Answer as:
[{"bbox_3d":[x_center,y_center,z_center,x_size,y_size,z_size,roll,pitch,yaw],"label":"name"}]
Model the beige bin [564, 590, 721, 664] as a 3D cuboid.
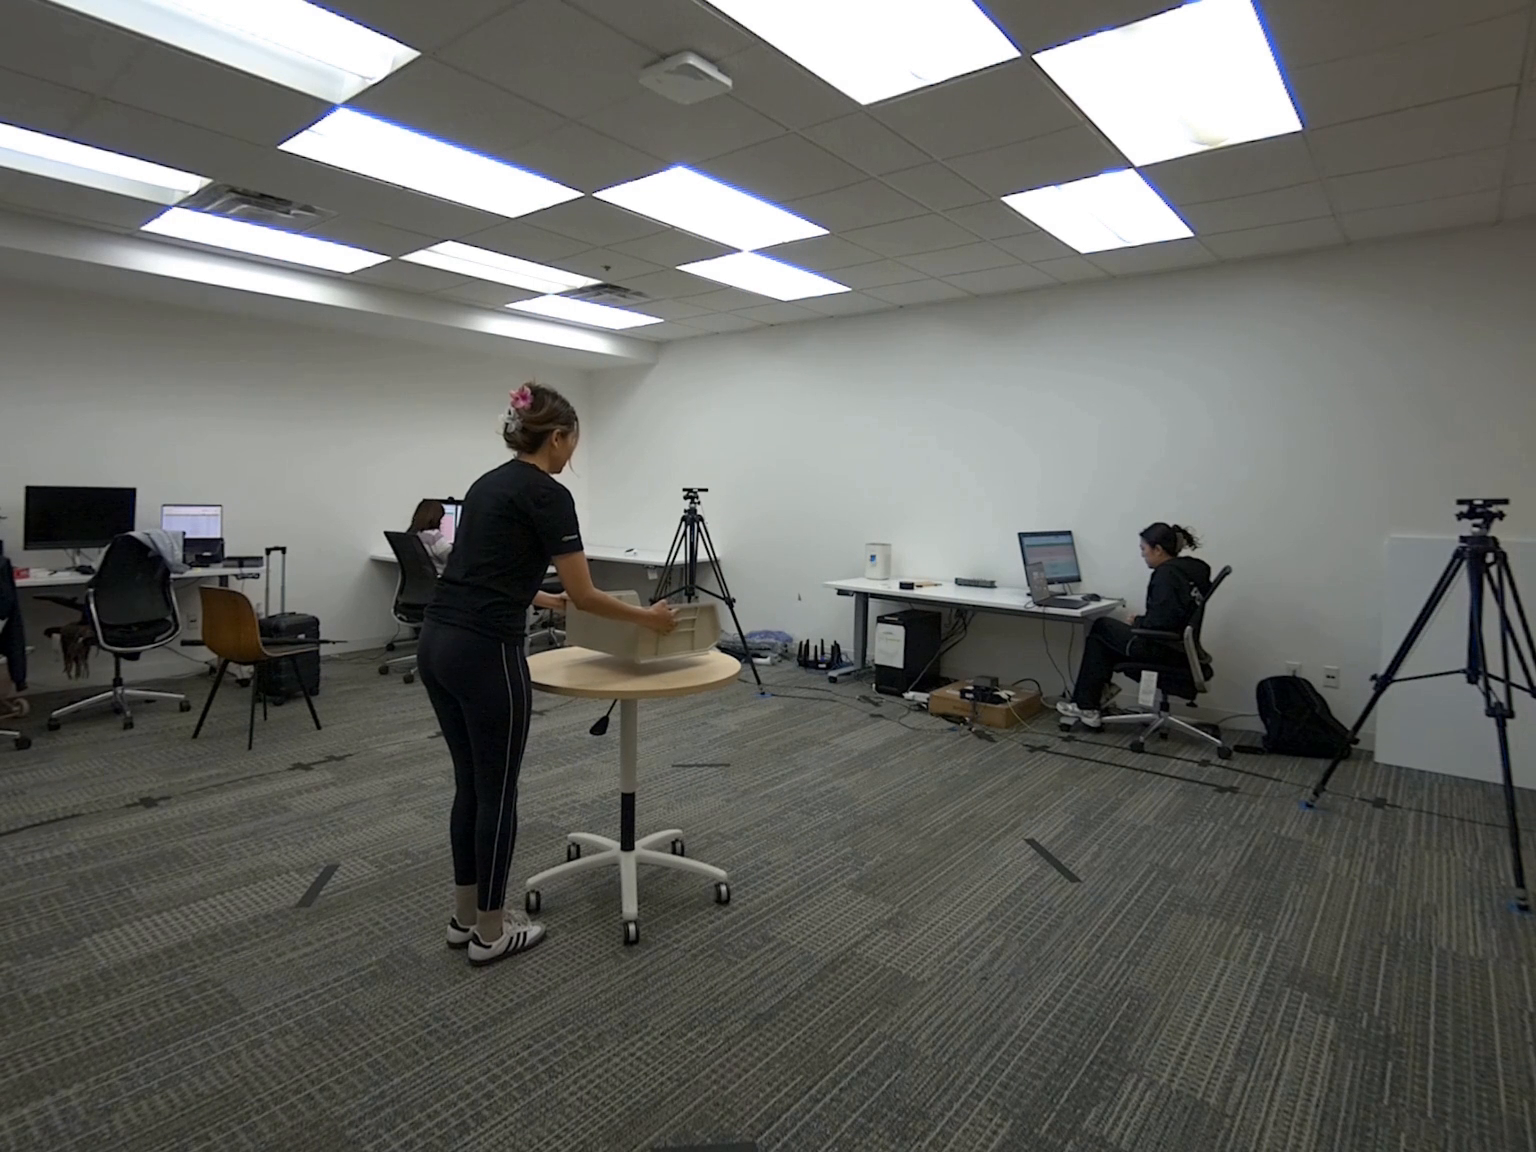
[{"bbox_3d":[-0.448,0.164,2.946,0.437,0.188,0.366,6,7,41],"label":"beige bin"}]
